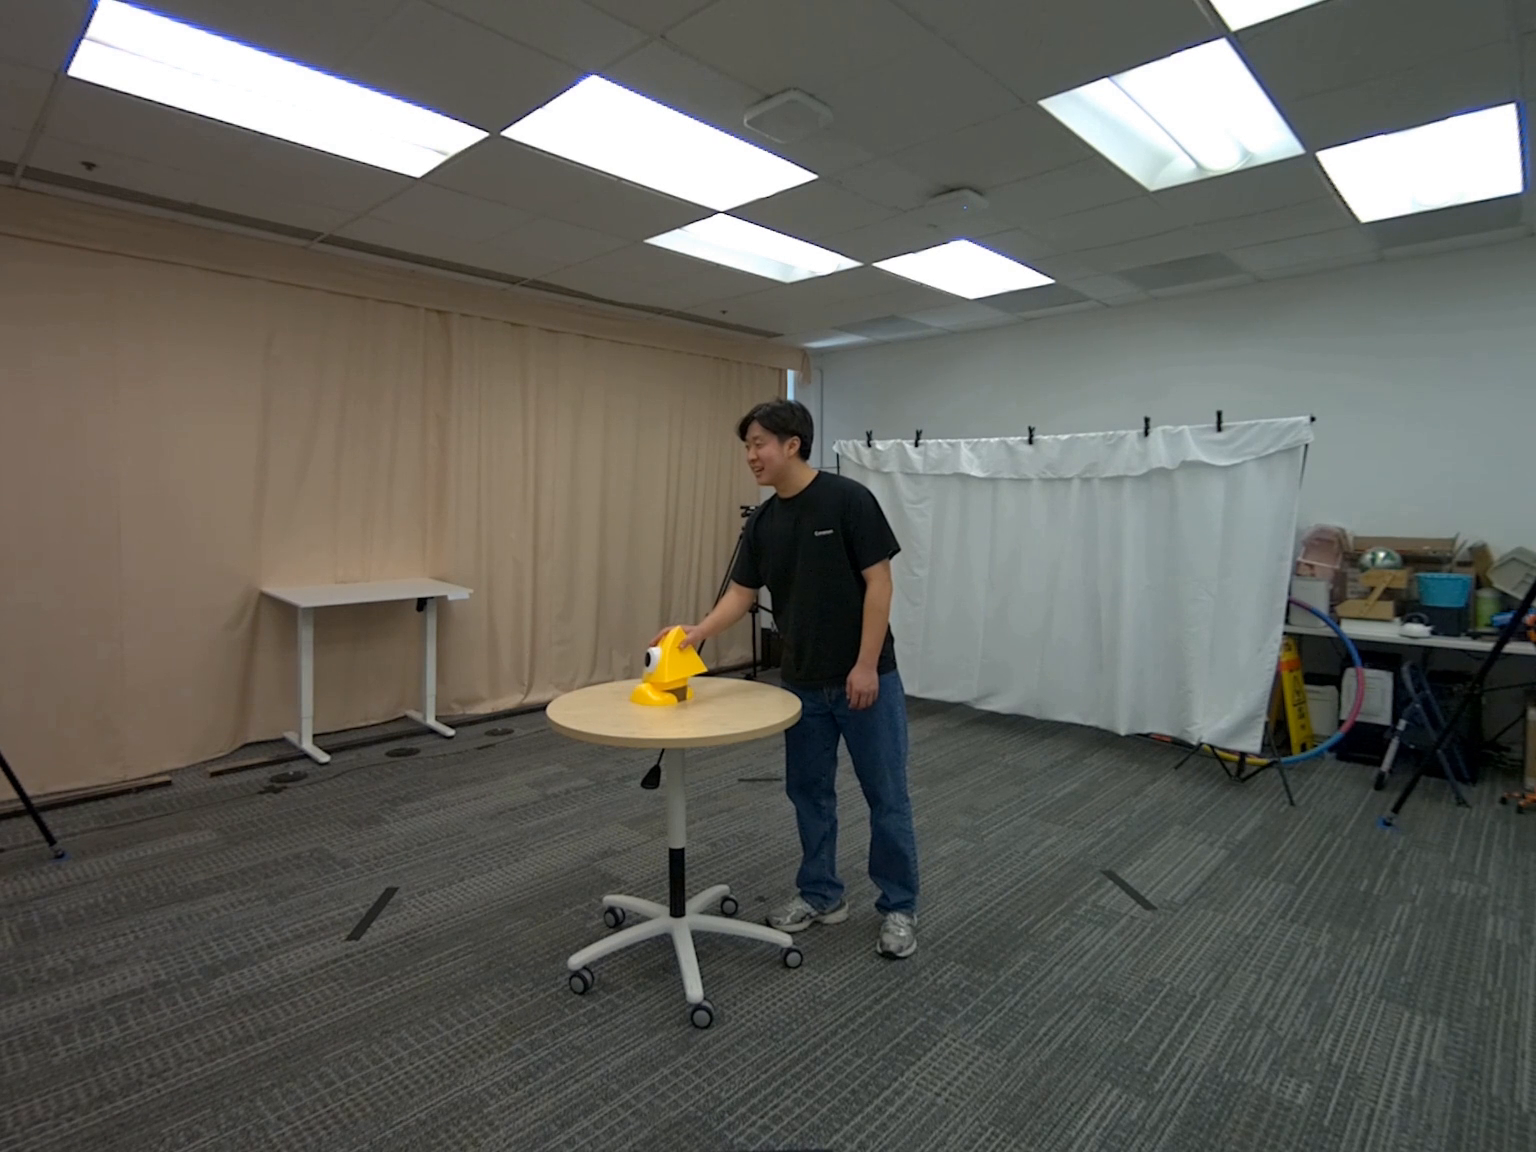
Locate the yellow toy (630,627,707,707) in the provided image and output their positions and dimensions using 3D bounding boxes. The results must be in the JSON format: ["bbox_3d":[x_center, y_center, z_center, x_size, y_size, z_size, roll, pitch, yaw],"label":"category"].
[{"bbox_3d":[-0.318,0.272,2.610,0.199,0.230,0.199,2,5,35],"label":"yellow toy"}]
